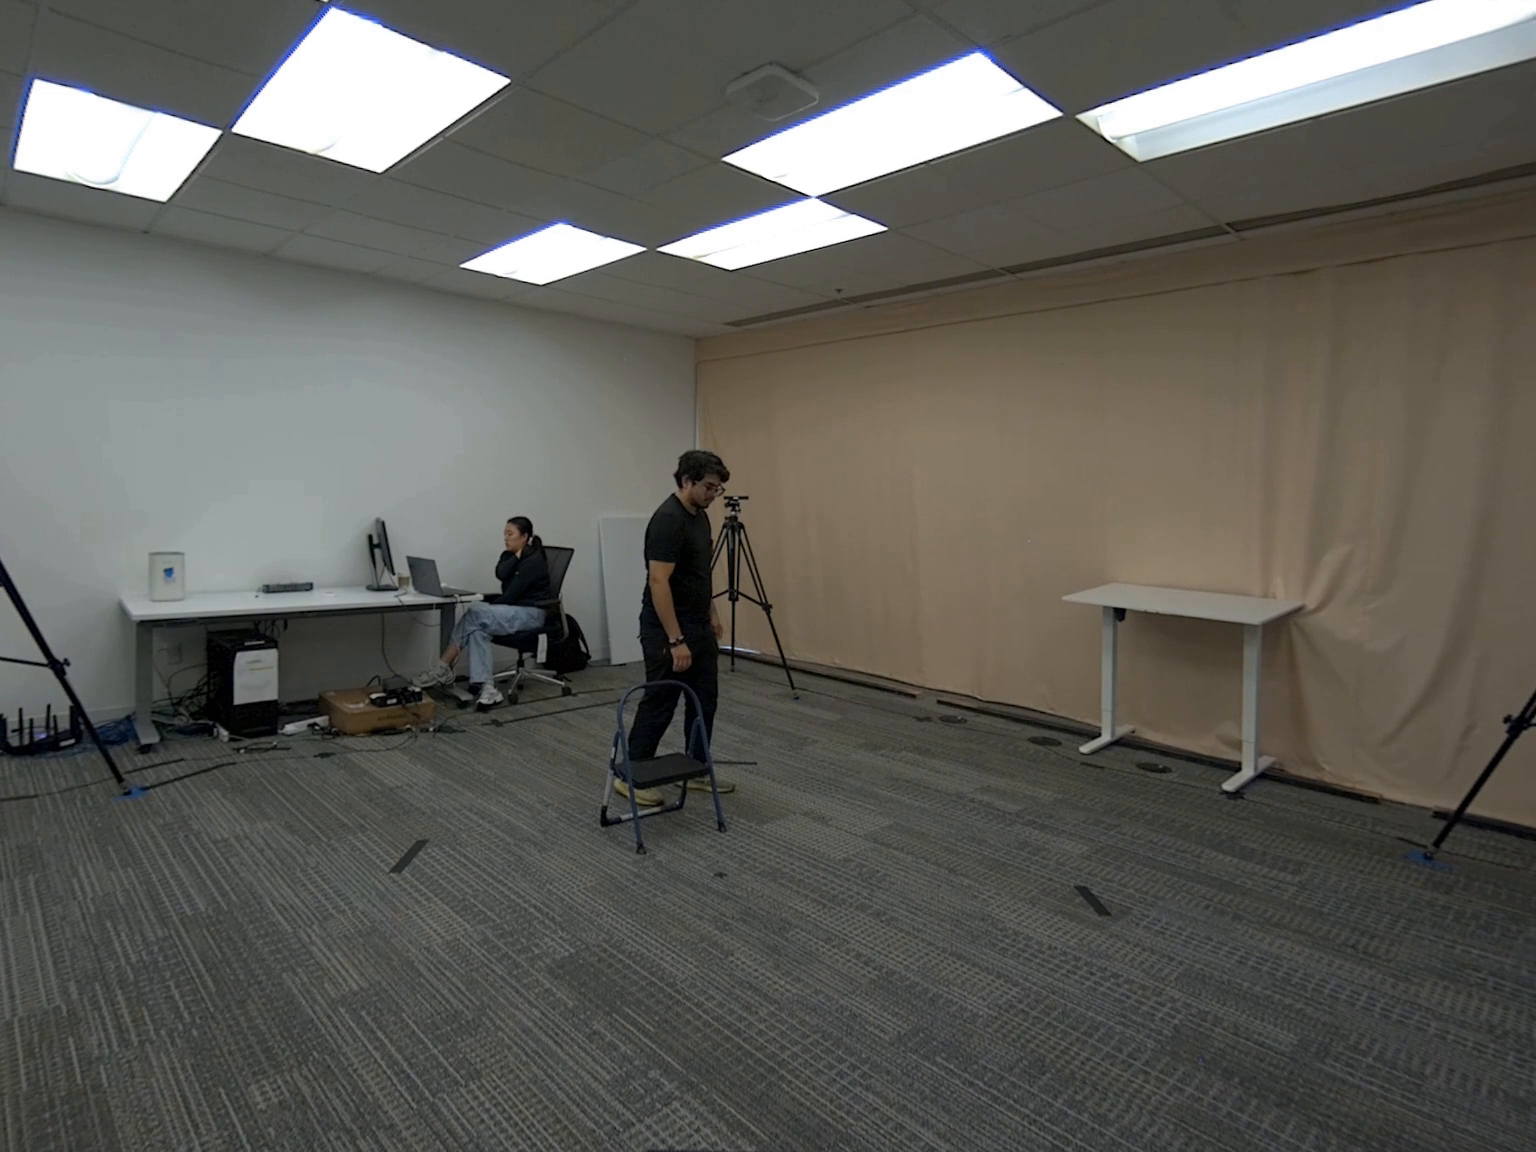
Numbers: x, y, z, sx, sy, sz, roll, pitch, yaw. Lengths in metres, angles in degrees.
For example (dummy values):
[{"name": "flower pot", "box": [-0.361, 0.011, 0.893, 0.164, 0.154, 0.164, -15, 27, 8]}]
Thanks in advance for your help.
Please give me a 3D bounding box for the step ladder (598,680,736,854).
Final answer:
[{"name": "step ladder", "box": [-0.444, 0.761, 3.515, 0.421, 0.605, 0.358, -1, 4, -39]}]
